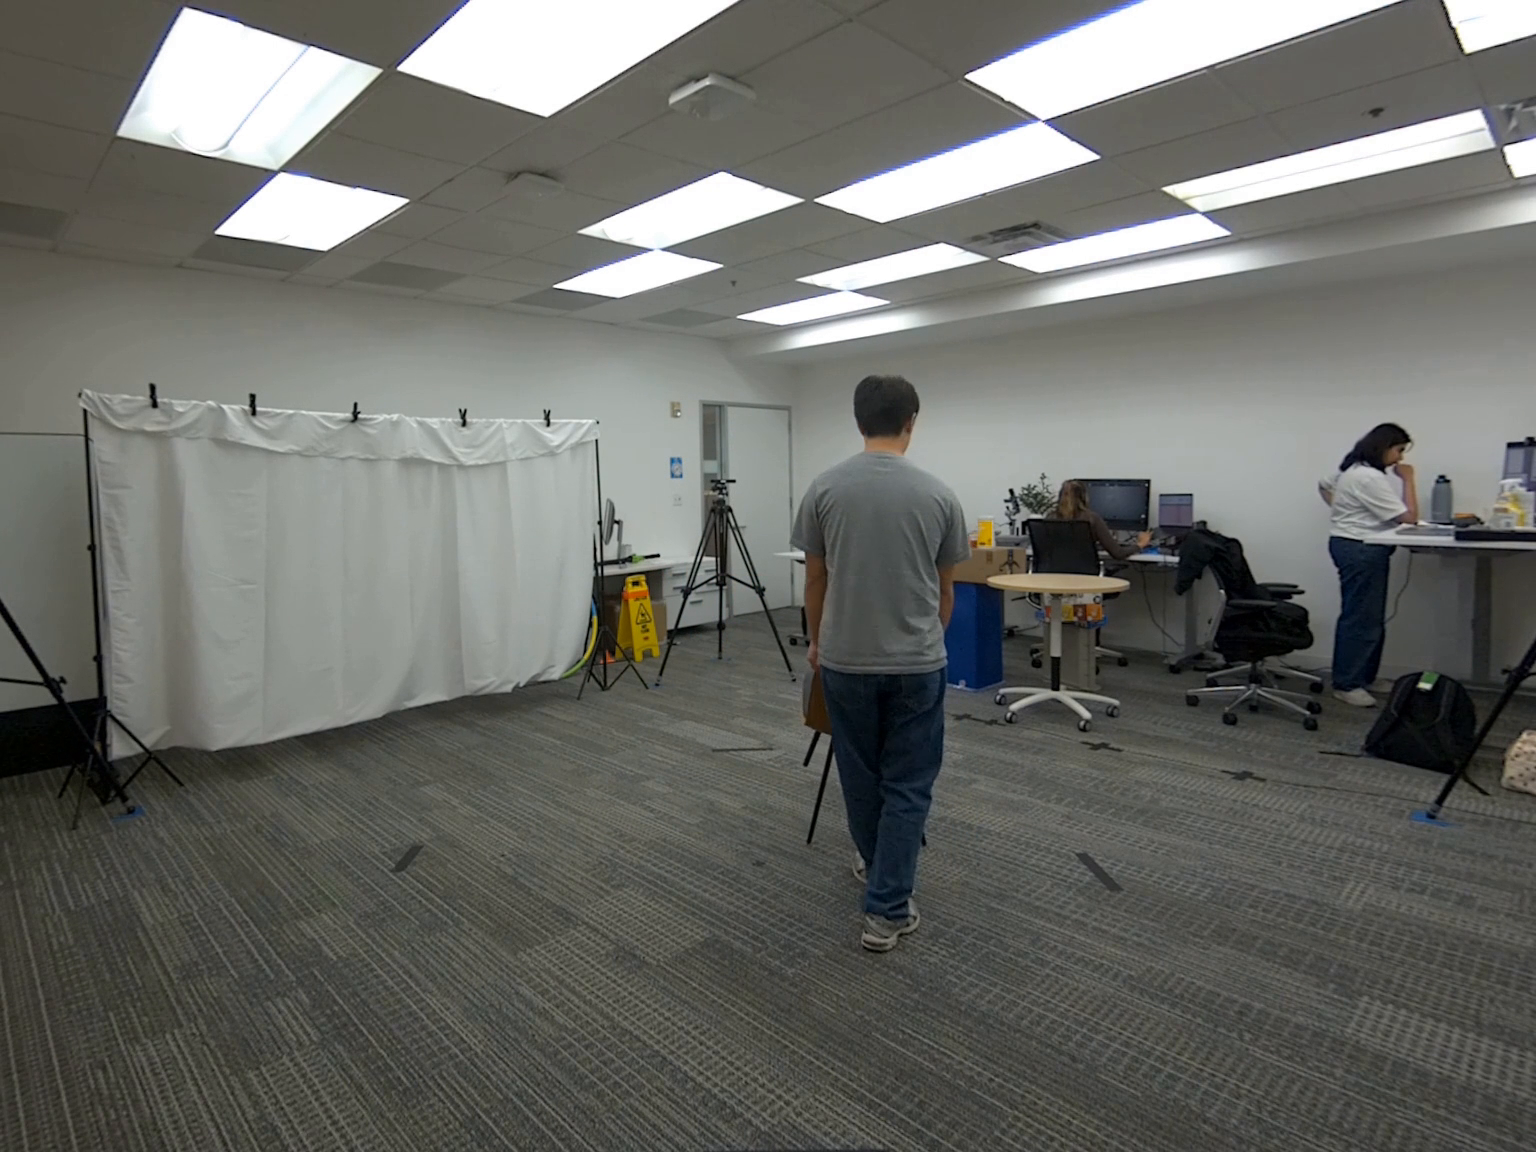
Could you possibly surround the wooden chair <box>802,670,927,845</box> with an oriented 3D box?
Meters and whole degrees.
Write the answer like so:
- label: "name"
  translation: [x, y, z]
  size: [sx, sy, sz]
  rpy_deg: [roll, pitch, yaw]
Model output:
- label: "wooden chair"
  translation: [0.373, 0.539, 3.285]
  size: [0.480, 0.856, 0.534]
  rpy_deg: [-1, 30, 3]
